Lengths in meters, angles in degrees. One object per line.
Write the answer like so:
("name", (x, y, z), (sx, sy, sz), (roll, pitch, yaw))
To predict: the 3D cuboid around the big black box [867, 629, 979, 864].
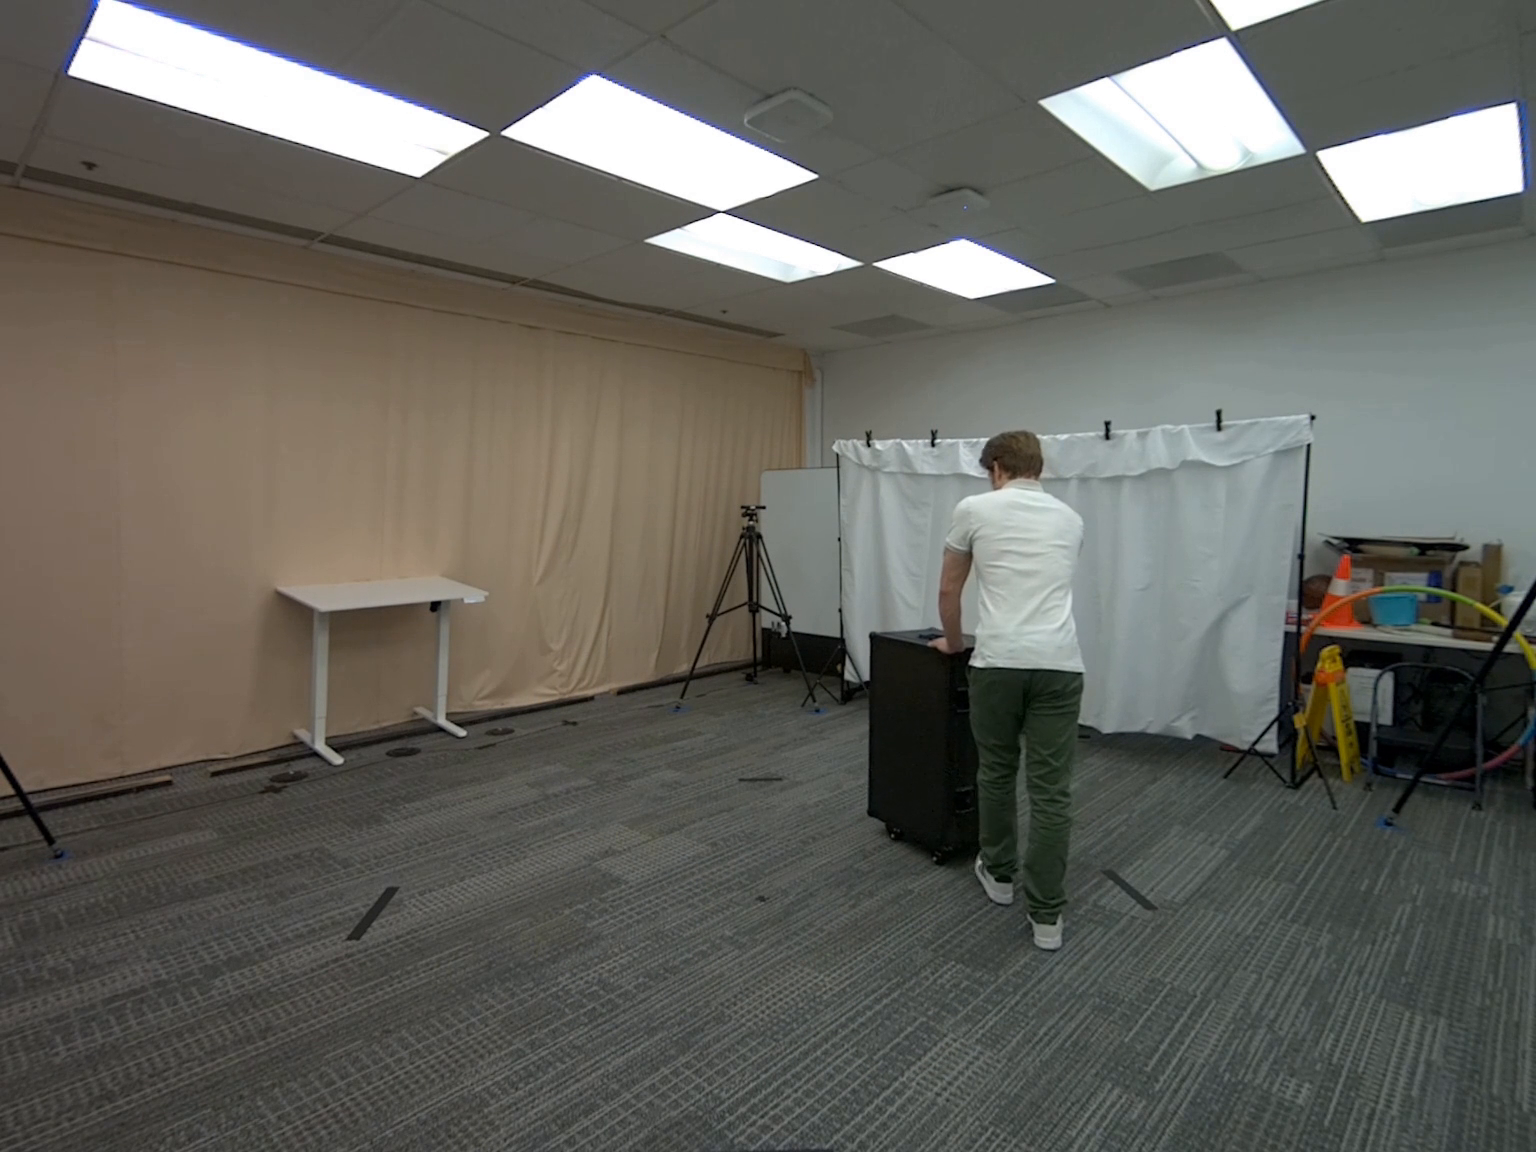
("big black box", (0.701, 0.681, 3.466), (0.375, 0.867, 0.539), (-1, 4, -31))
